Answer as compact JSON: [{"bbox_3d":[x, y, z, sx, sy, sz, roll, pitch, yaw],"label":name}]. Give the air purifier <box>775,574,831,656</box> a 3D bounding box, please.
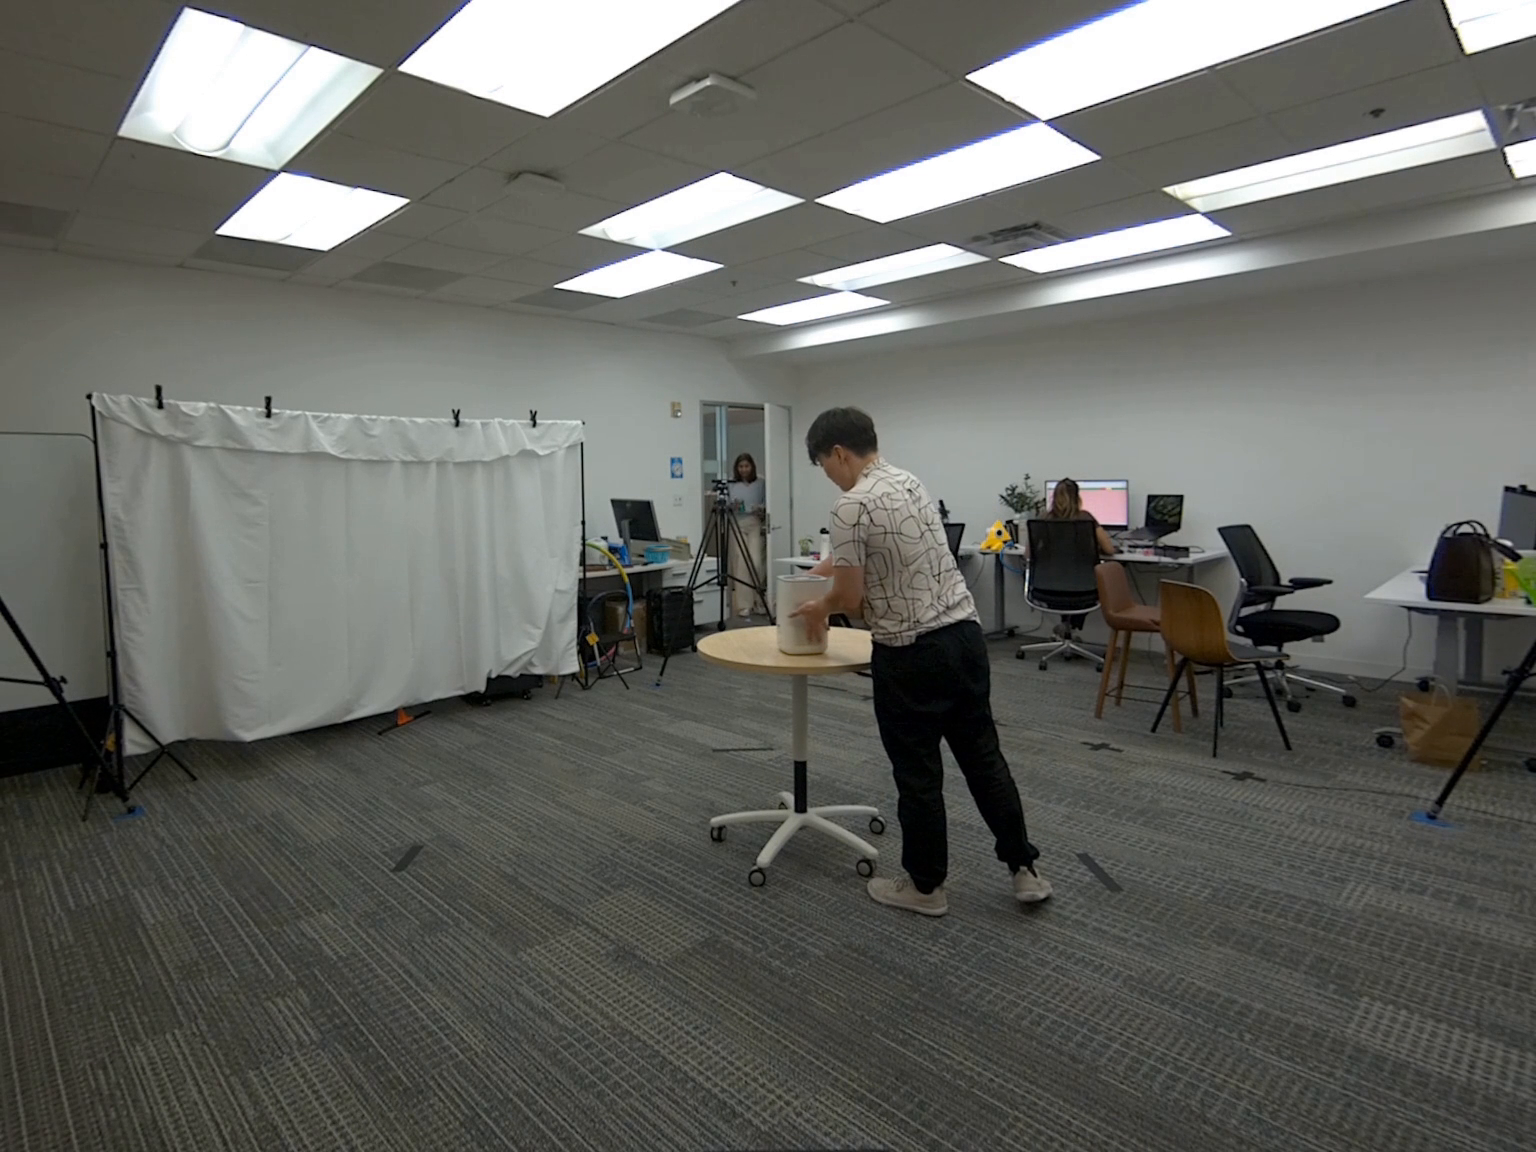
[{"bbox_3d":[0.124,0.138,3.047,0.170,0.264,0.174,-1,7,-10],"label":"air purifier"}]
